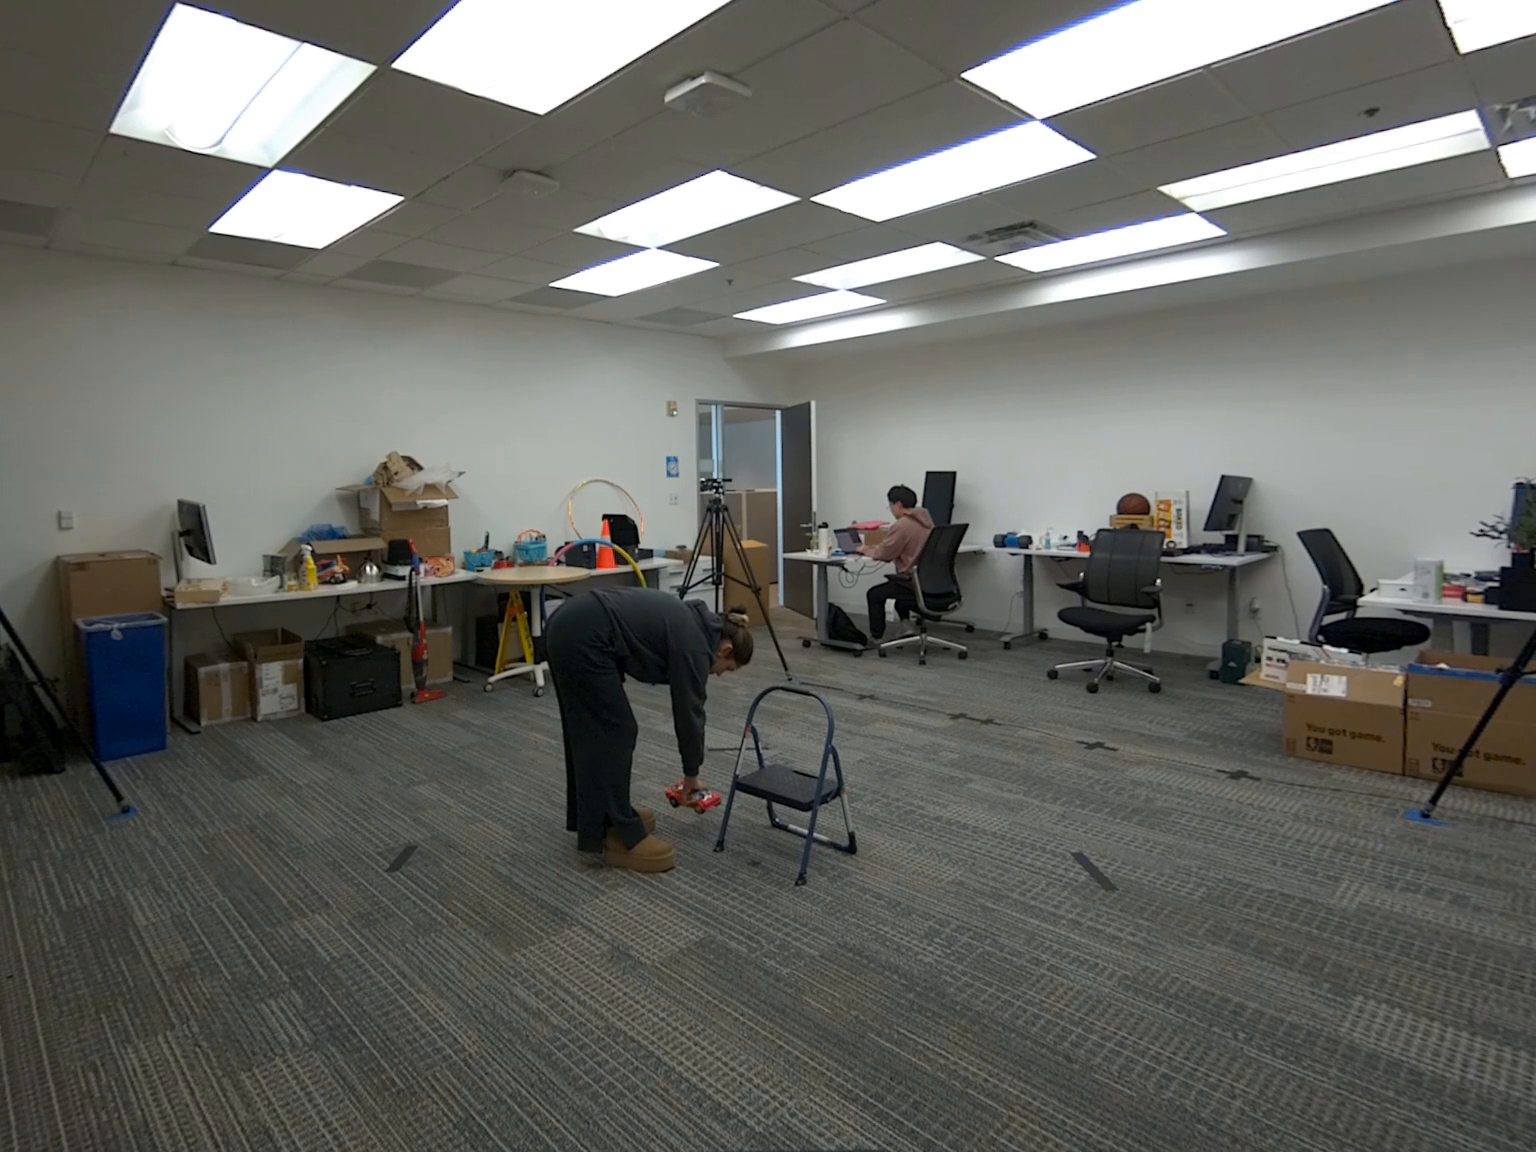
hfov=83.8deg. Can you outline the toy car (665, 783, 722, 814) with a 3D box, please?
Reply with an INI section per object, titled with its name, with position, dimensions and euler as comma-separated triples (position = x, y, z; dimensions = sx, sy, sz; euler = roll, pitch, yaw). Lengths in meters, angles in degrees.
[toy car]
position = -0.305, 0.893, 3.418
dimensions = 0.263, 0.082, 0.127
euler = 15, 20, 43
